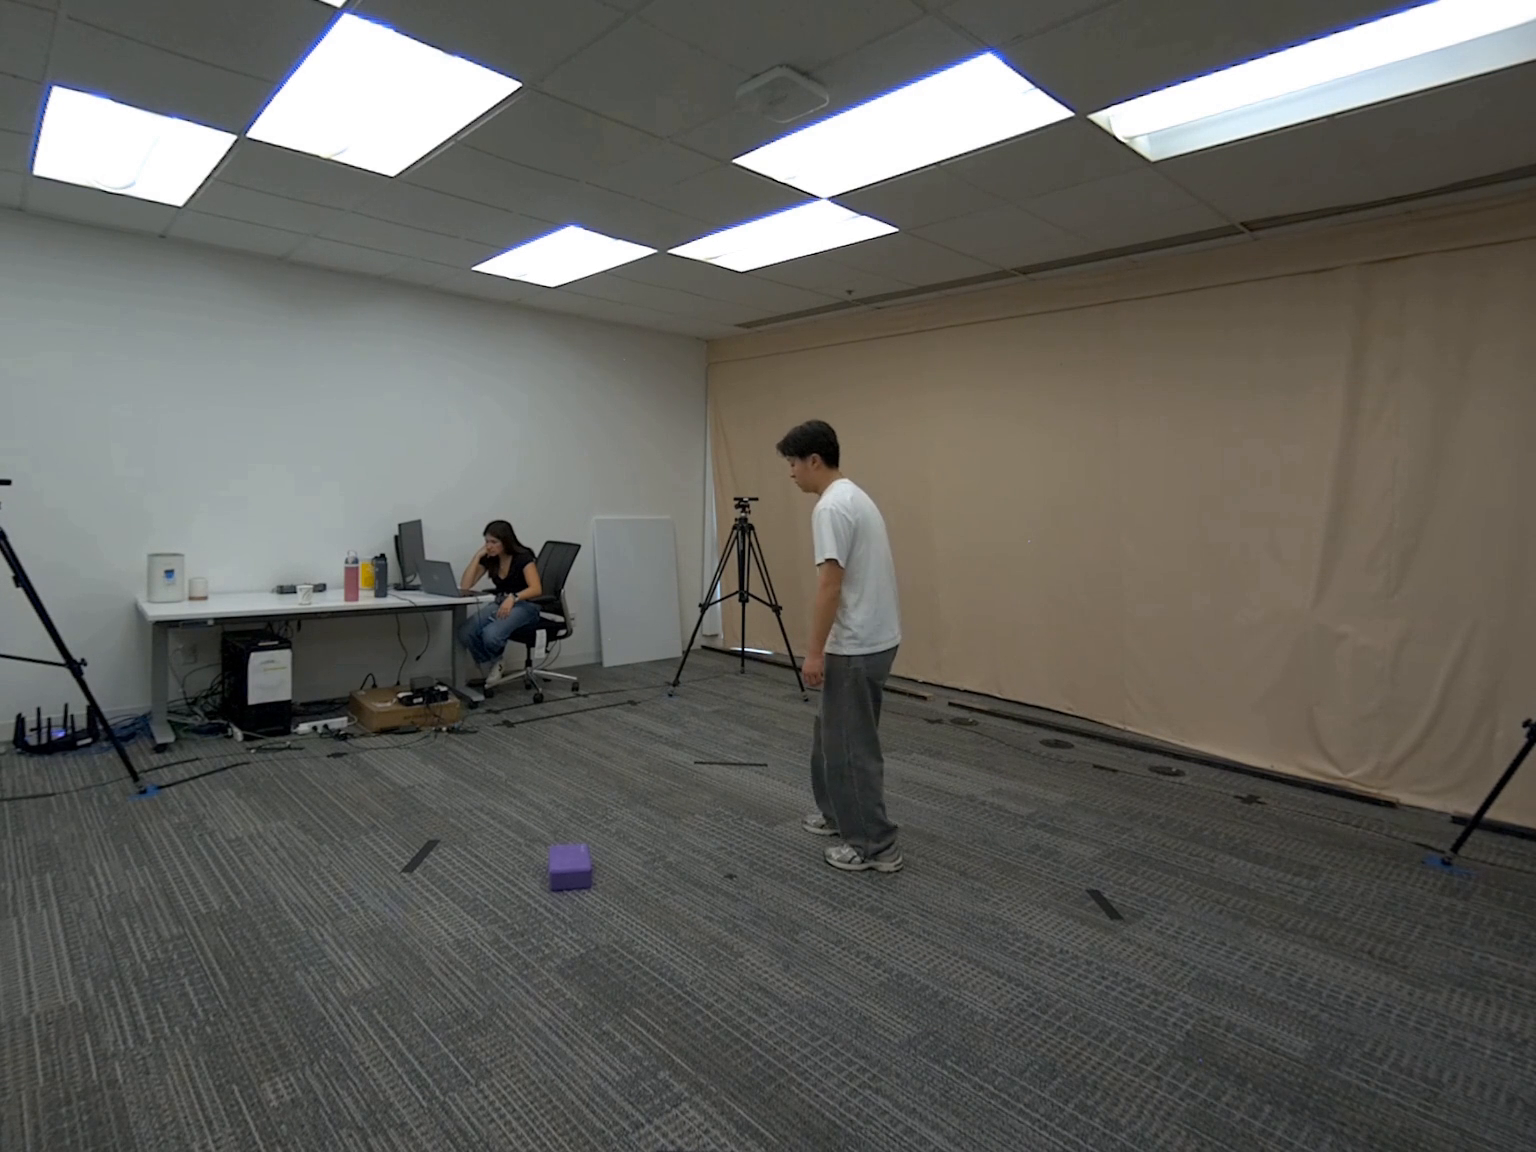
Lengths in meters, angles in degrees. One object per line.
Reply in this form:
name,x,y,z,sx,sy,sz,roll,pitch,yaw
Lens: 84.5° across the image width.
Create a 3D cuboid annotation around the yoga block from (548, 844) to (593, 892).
yoga block,-0.731,1.062,3.064,0.147,0.076,0.232,1,6,-14
